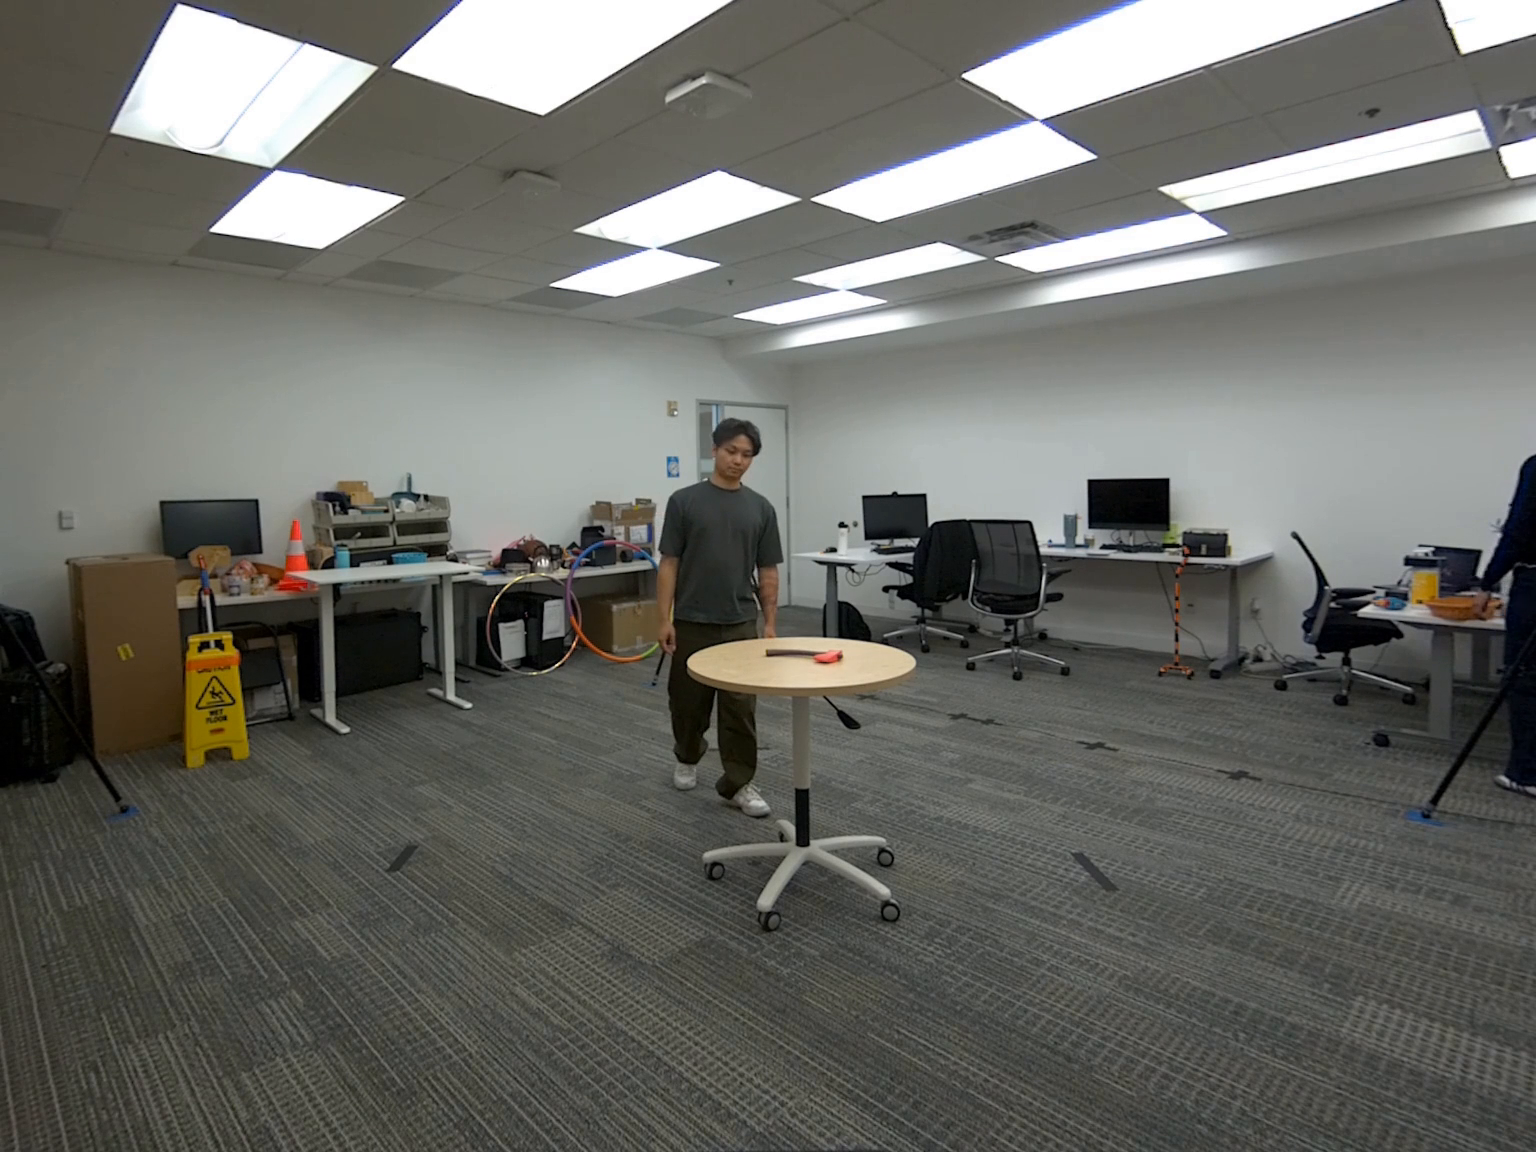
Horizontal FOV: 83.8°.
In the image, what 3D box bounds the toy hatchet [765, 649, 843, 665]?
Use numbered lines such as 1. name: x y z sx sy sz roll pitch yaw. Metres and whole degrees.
1. toy hatchet: 0.123 0.271 2.885 0.273 0.029 0.131 -2 11 11
